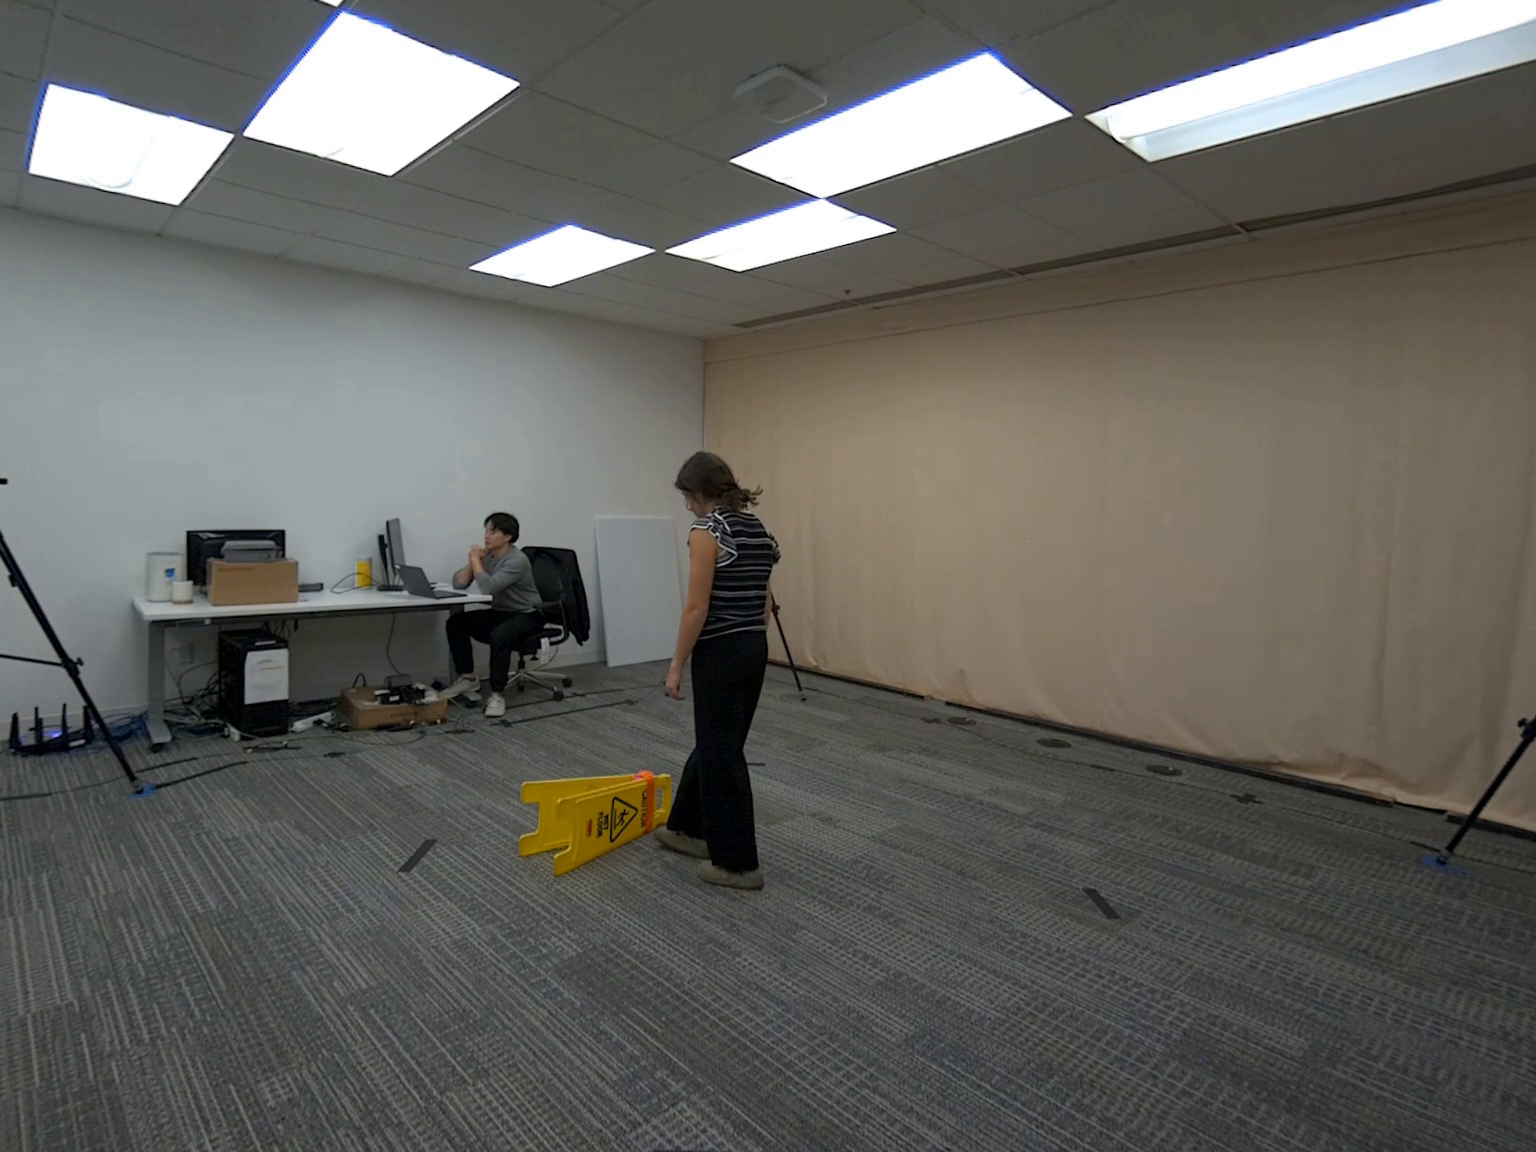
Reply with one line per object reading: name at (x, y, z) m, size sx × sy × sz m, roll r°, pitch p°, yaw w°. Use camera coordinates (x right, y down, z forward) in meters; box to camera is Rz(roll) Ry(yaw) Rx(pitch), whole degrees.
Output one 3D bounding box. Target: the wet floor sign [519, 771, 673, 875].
wet floor sign at (-0.654, 0.947, 3.378) m, size 0.297 × 0.282 × 0.630 m, roll 4°, pitch 2°, yaw 42°
